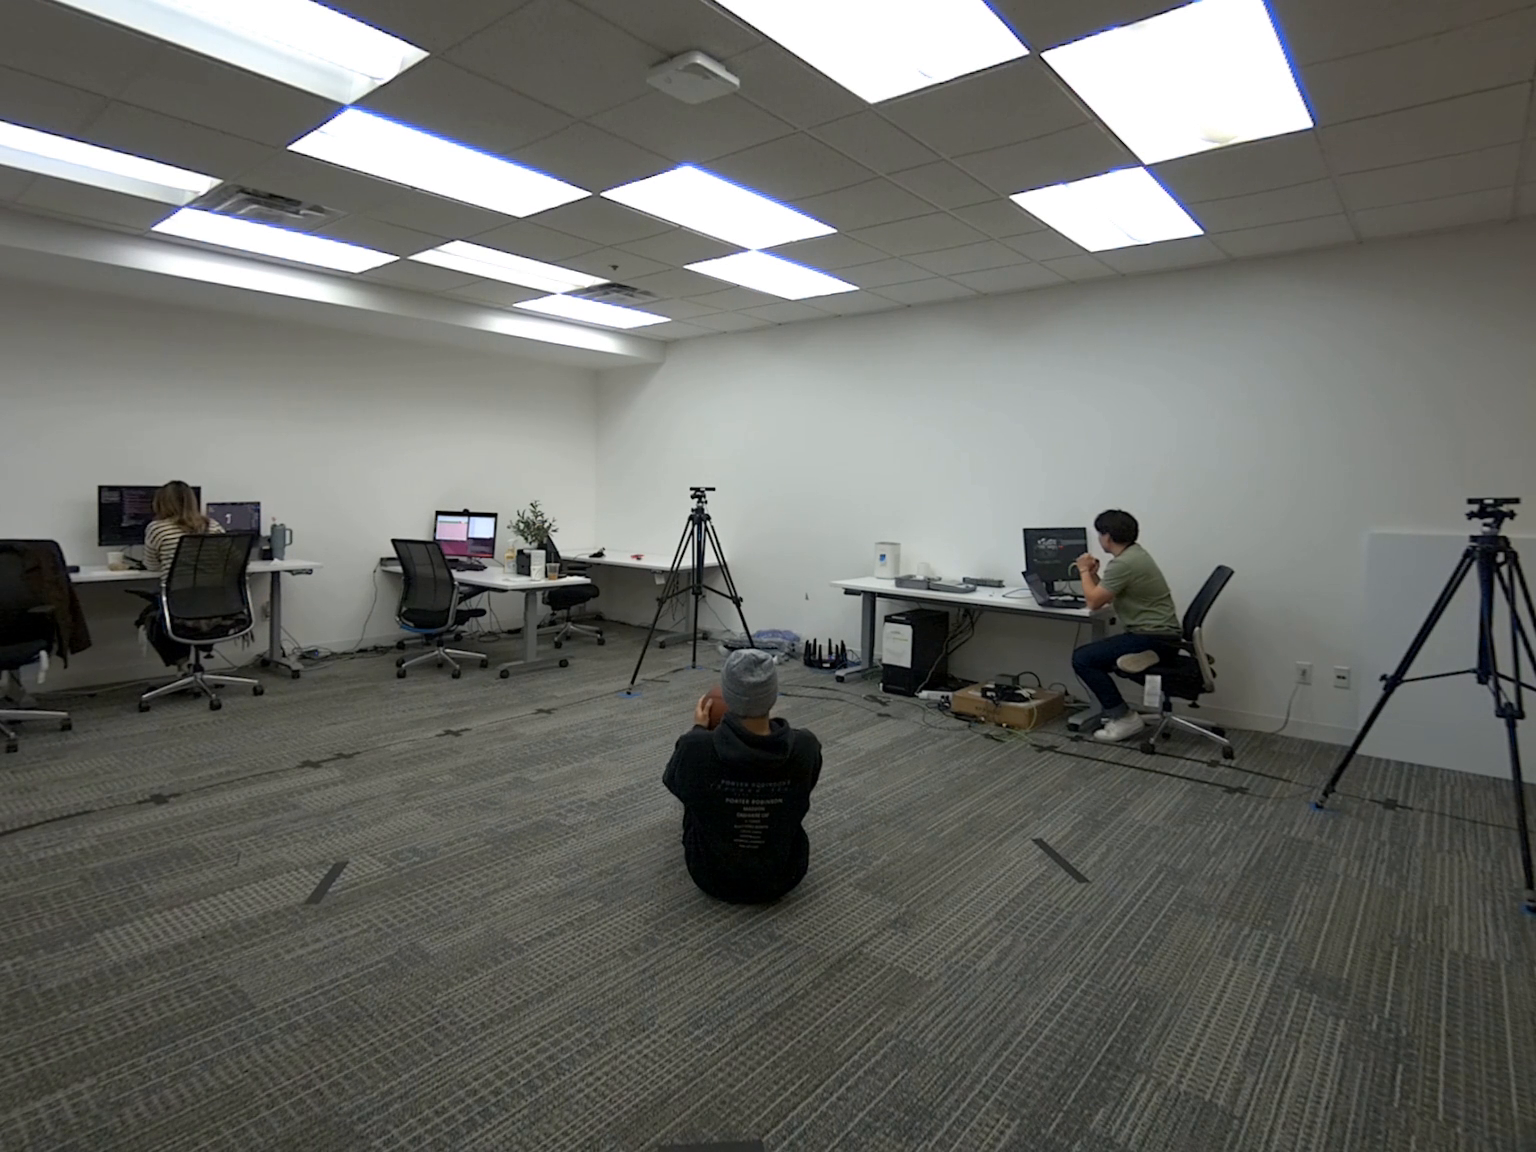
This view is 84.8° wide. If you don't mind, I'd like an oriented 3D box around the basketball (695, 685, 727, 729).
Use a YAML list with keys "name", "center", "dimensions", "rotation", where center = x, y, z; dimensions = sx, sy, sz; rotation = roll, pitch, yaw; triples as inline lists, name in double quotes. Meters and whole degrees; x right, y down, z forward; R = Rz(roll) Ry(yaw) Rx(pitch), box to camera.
- name: "basketball"
  center: [-0.140, 0.523, 3.283]
  dimensions: [0.235, 0.235, 0.237]
  rotation: [1, 4, -2]
